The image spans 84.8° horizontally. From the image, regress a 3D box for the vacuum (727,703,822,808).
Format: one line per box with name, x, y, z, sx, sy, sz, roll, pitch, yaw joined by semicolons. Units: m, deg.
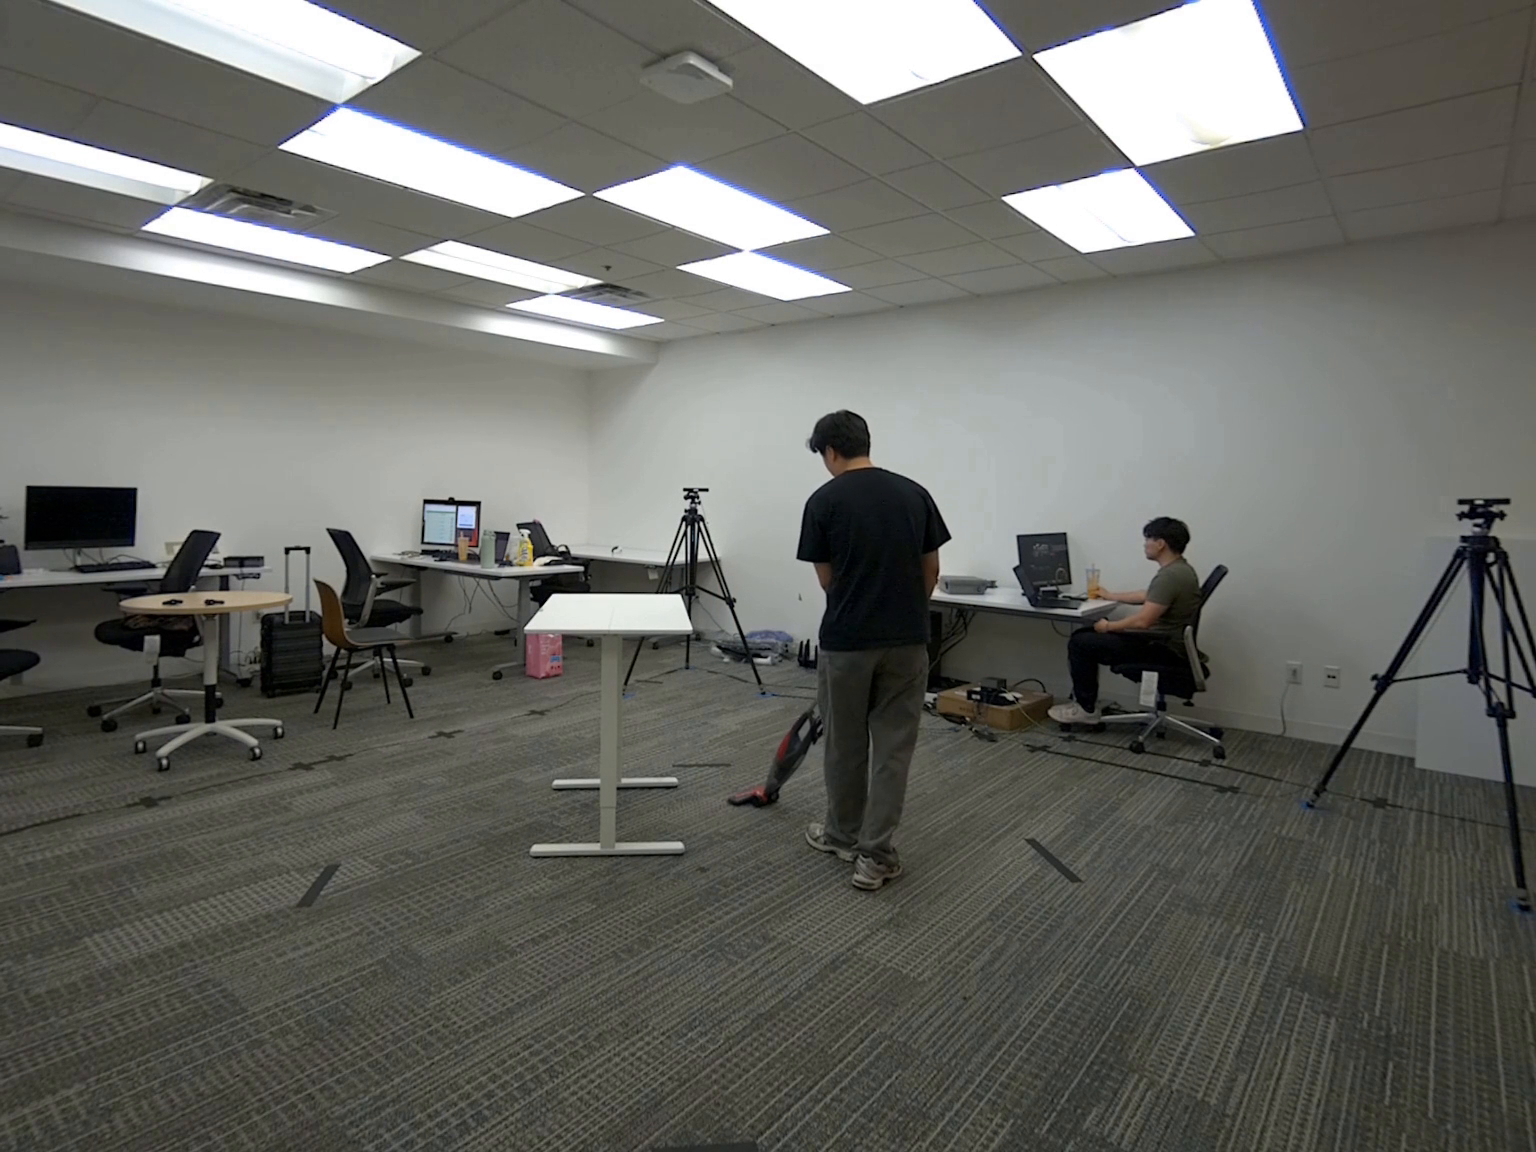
vacuum;0.180;0.604;3.586;0.245;1.042;0.149;-5;43;-50
